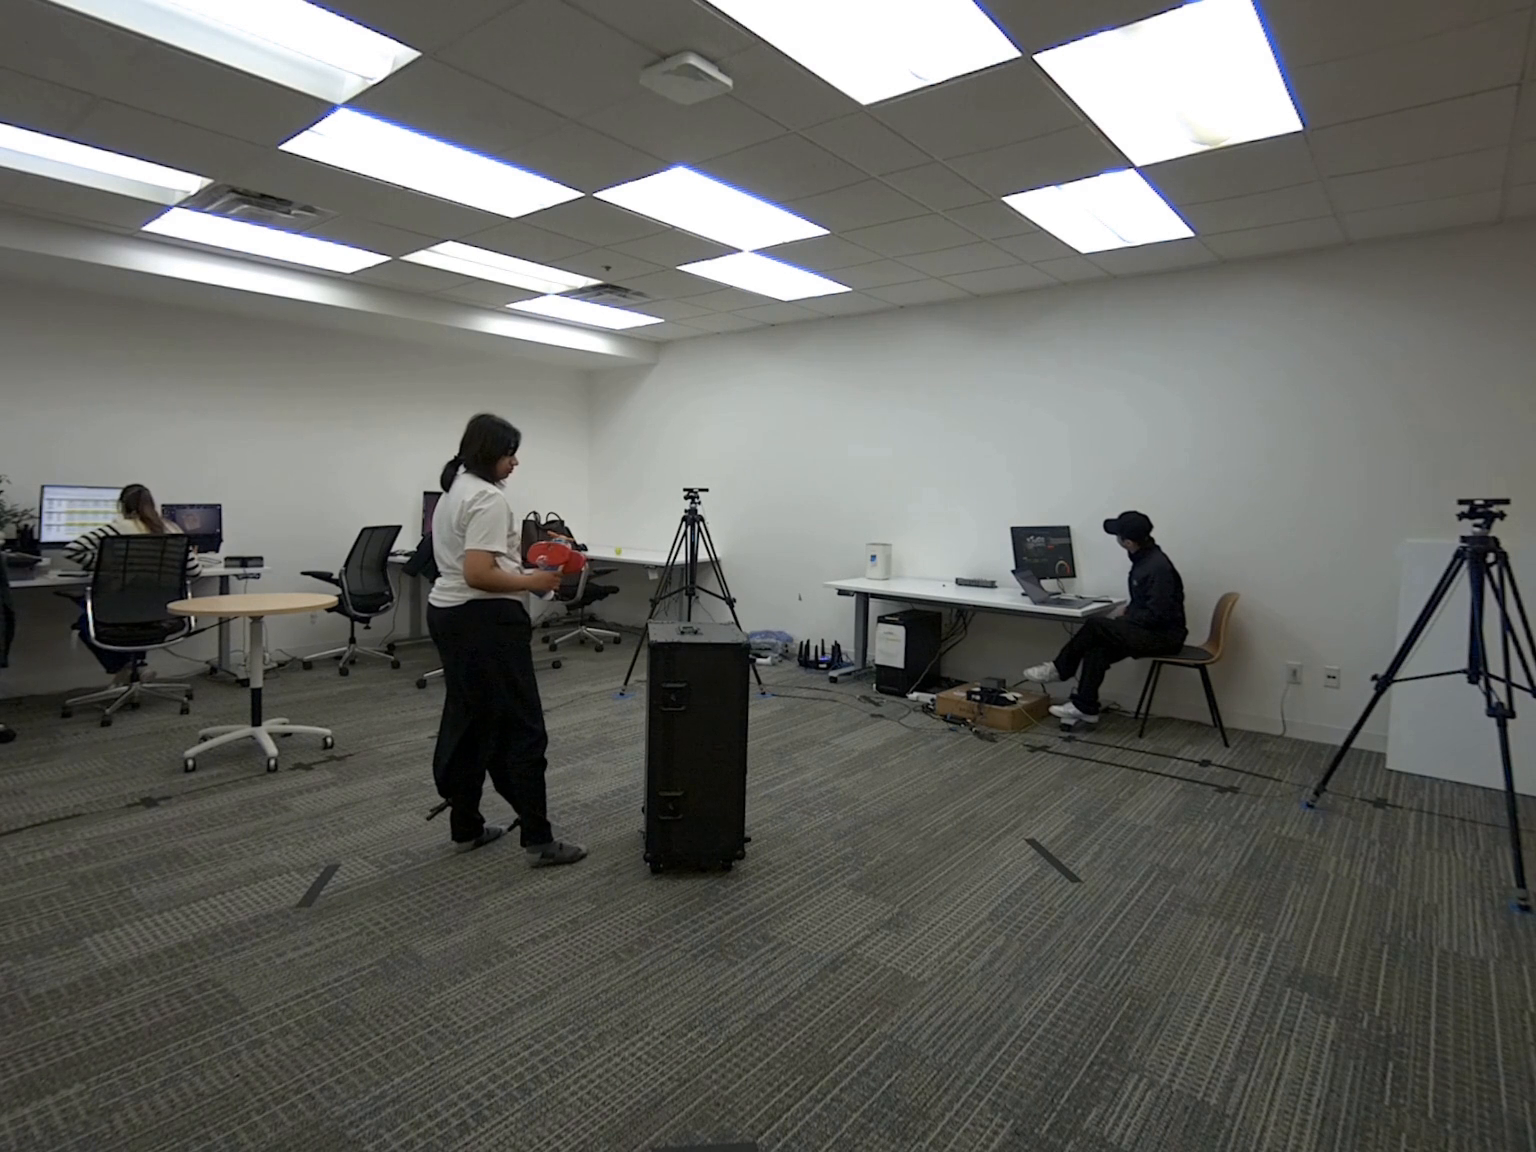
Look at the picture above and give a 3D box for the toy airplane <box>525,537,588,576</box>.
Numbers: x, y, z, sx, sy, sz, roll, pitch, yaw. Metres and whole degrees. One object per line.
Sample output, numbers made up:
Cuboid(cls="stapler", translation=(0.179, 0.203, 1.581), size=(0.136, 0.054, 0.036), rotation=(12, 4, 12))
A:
Cuboid(cls="toy airplane", translation=(-0.827, -0.032, 3.295), size=(0.254, 0.266, 0.150), rotation=(-21, -48, 22))
